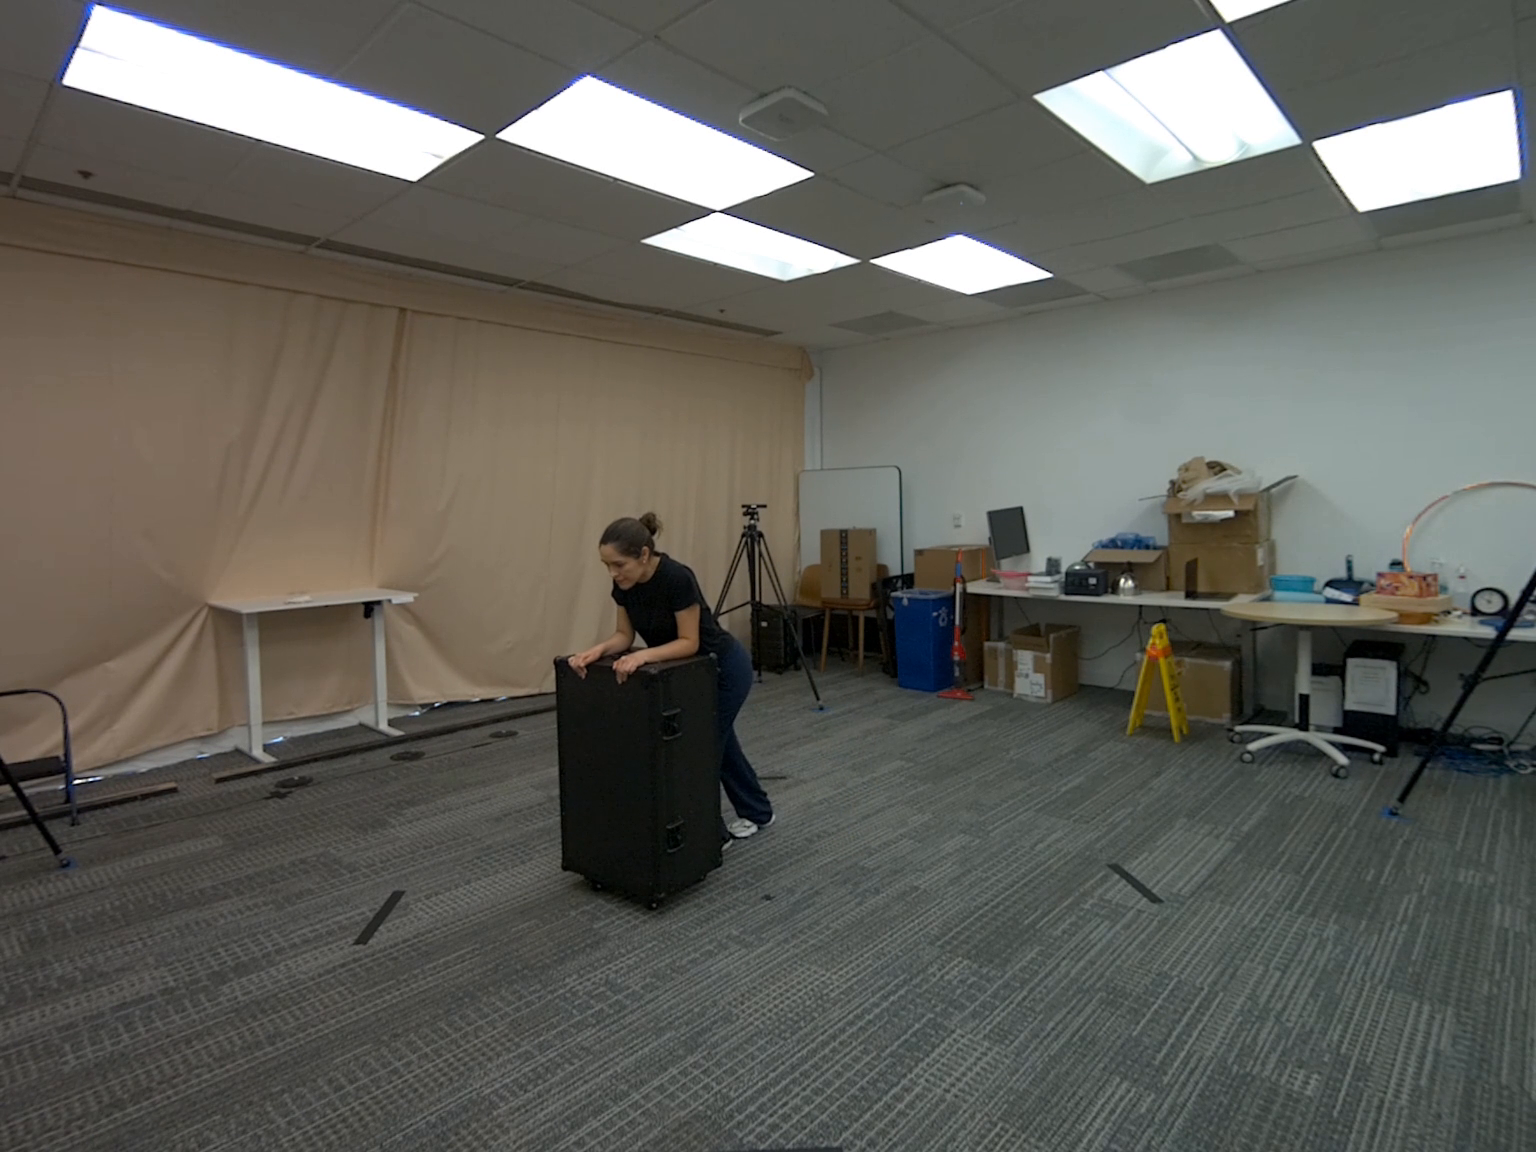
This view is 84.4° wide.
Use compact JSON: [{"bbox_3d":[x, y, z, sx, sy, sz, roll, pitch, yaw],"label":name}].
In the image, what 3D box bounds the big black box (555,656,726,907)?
[{"bbox_3d":[-0.455,0.661,3.079,0.537,0.859,0.385,1,4,35],"label":"big black box"}]
